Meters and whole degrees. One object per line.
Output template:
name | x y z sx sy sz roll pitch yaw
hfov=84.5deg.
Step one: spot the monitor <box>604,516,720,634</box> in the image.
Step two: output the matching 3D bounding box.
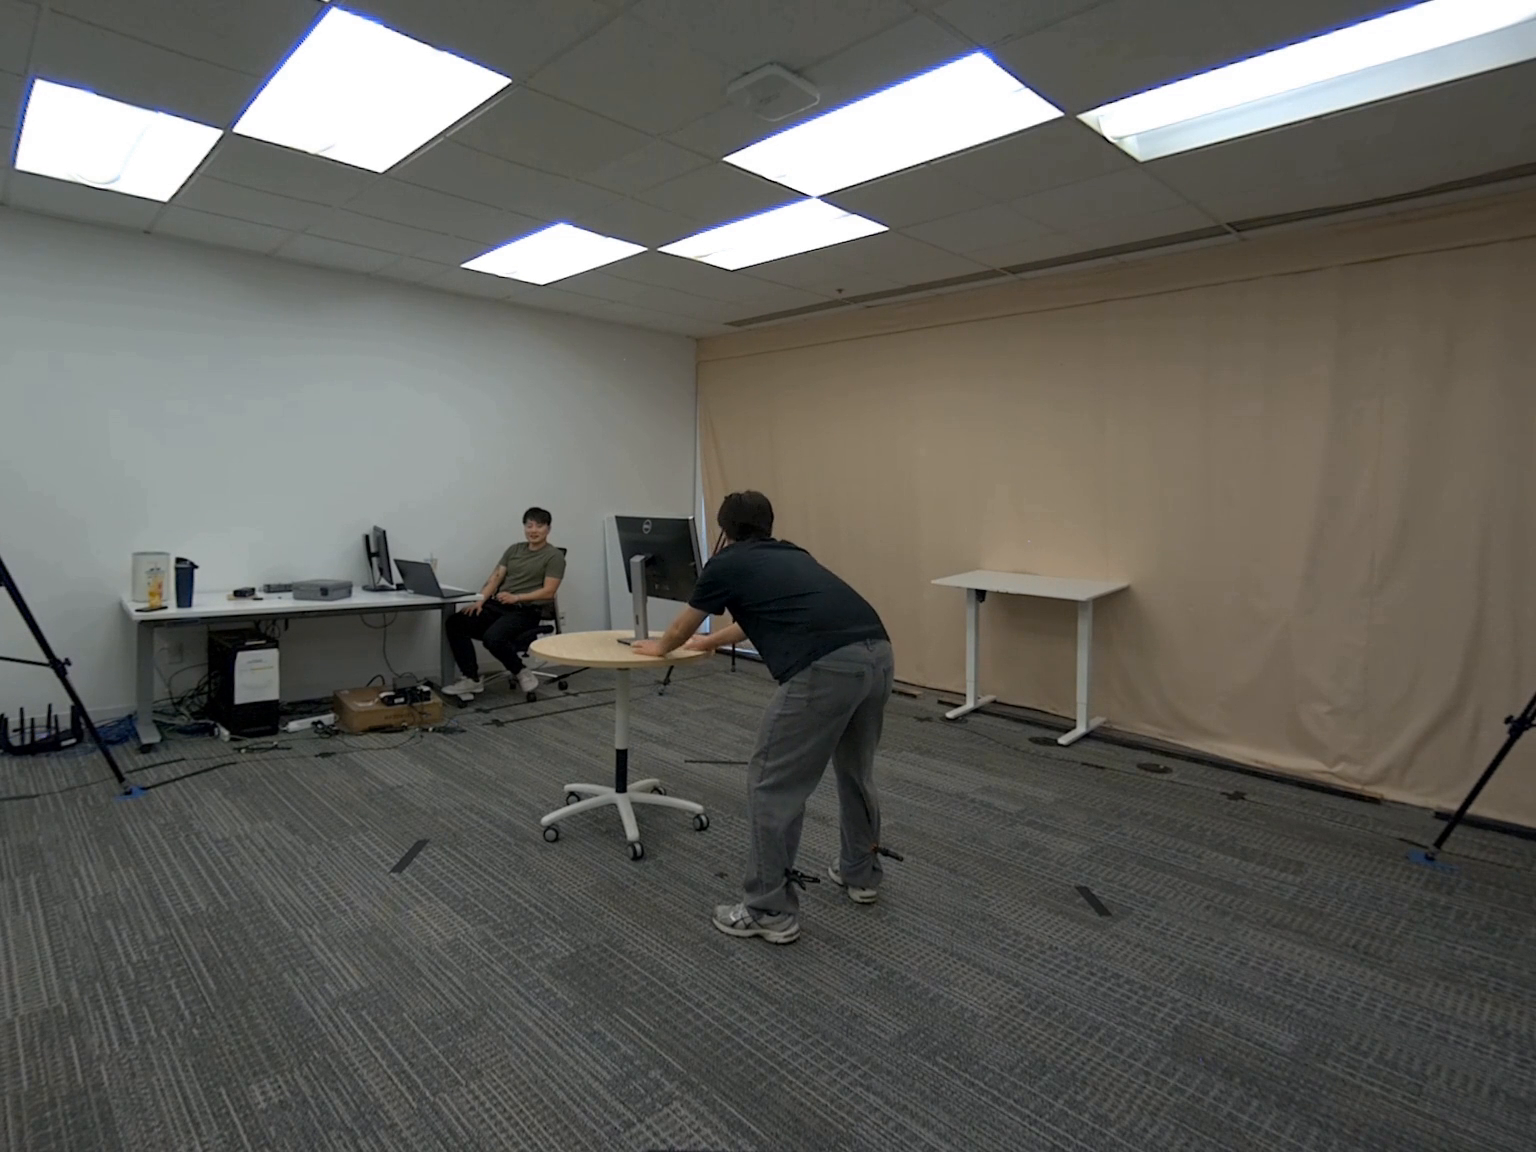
monitor | -0.513 0.021 3.523 0.206 0.551 0.580 -10 10 -41
